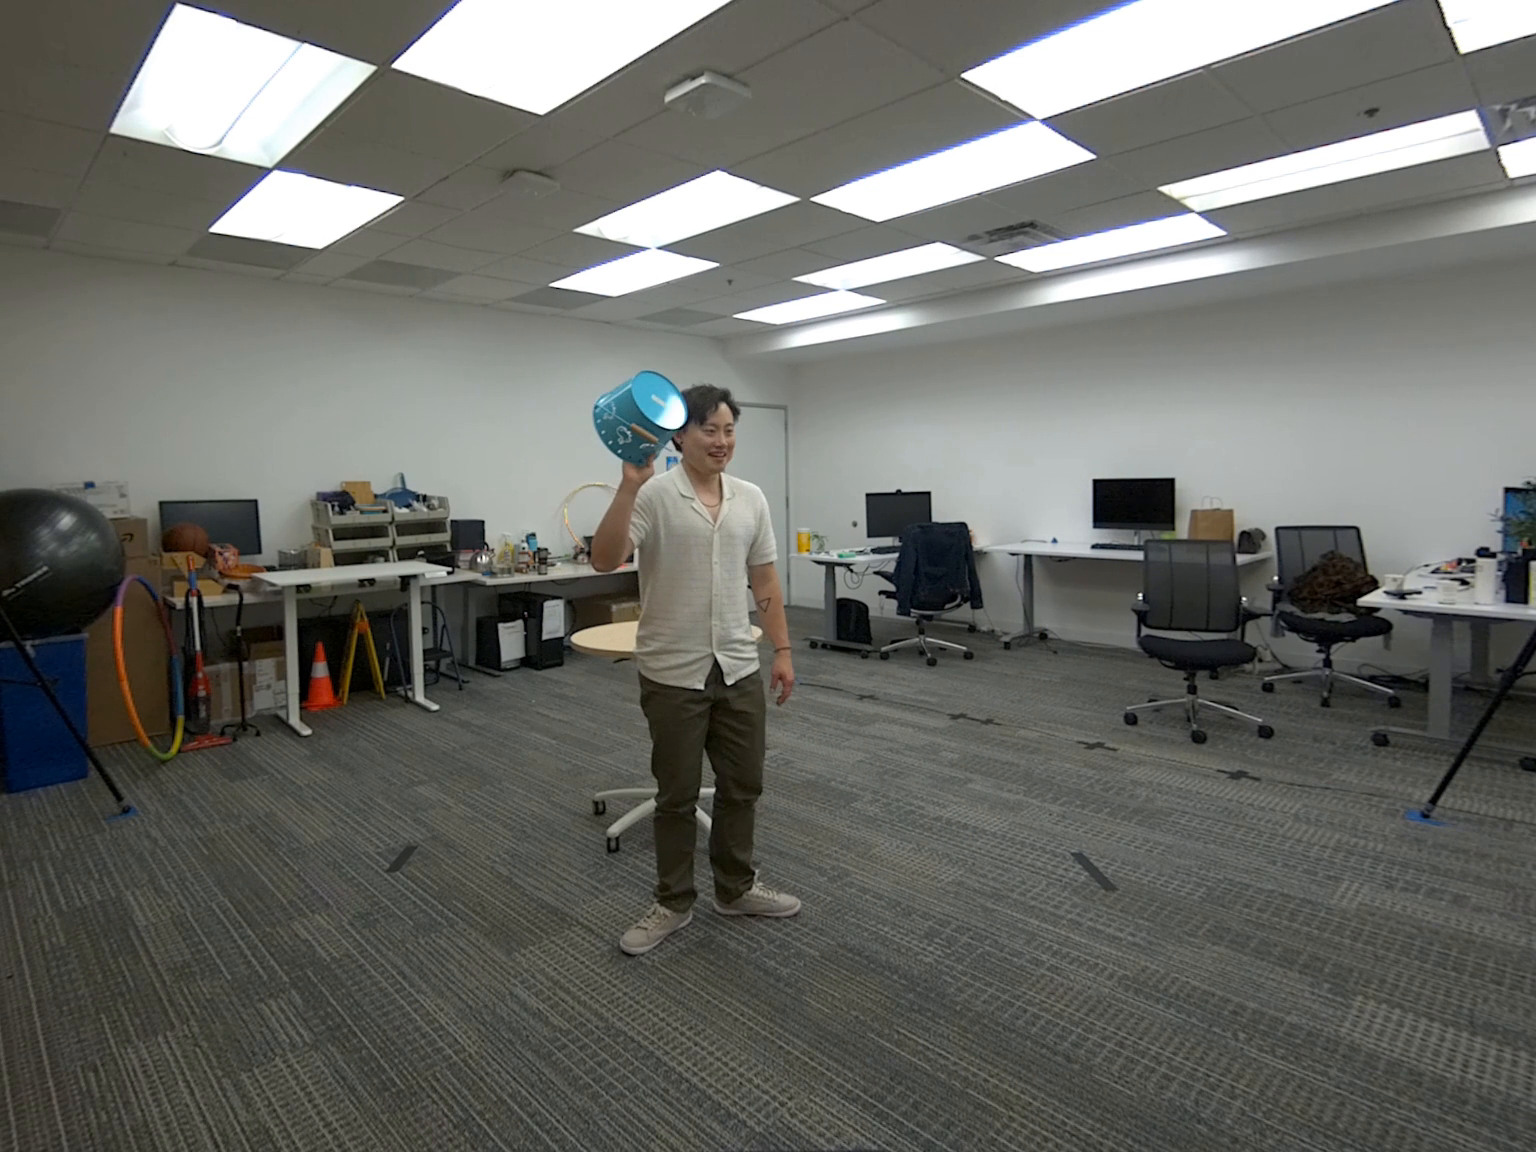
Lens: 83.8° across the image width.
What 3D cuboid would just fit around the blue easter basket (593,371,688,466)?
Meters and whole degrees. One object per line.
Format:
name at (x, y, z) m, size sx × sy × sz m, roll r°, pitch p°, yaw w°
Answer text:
blue easter basket at (-0.333, -0.430, 2.321) m, size 0.237 × 0.248 × 0.157 m, roll -6°, pitch -20°, yaw -47°
